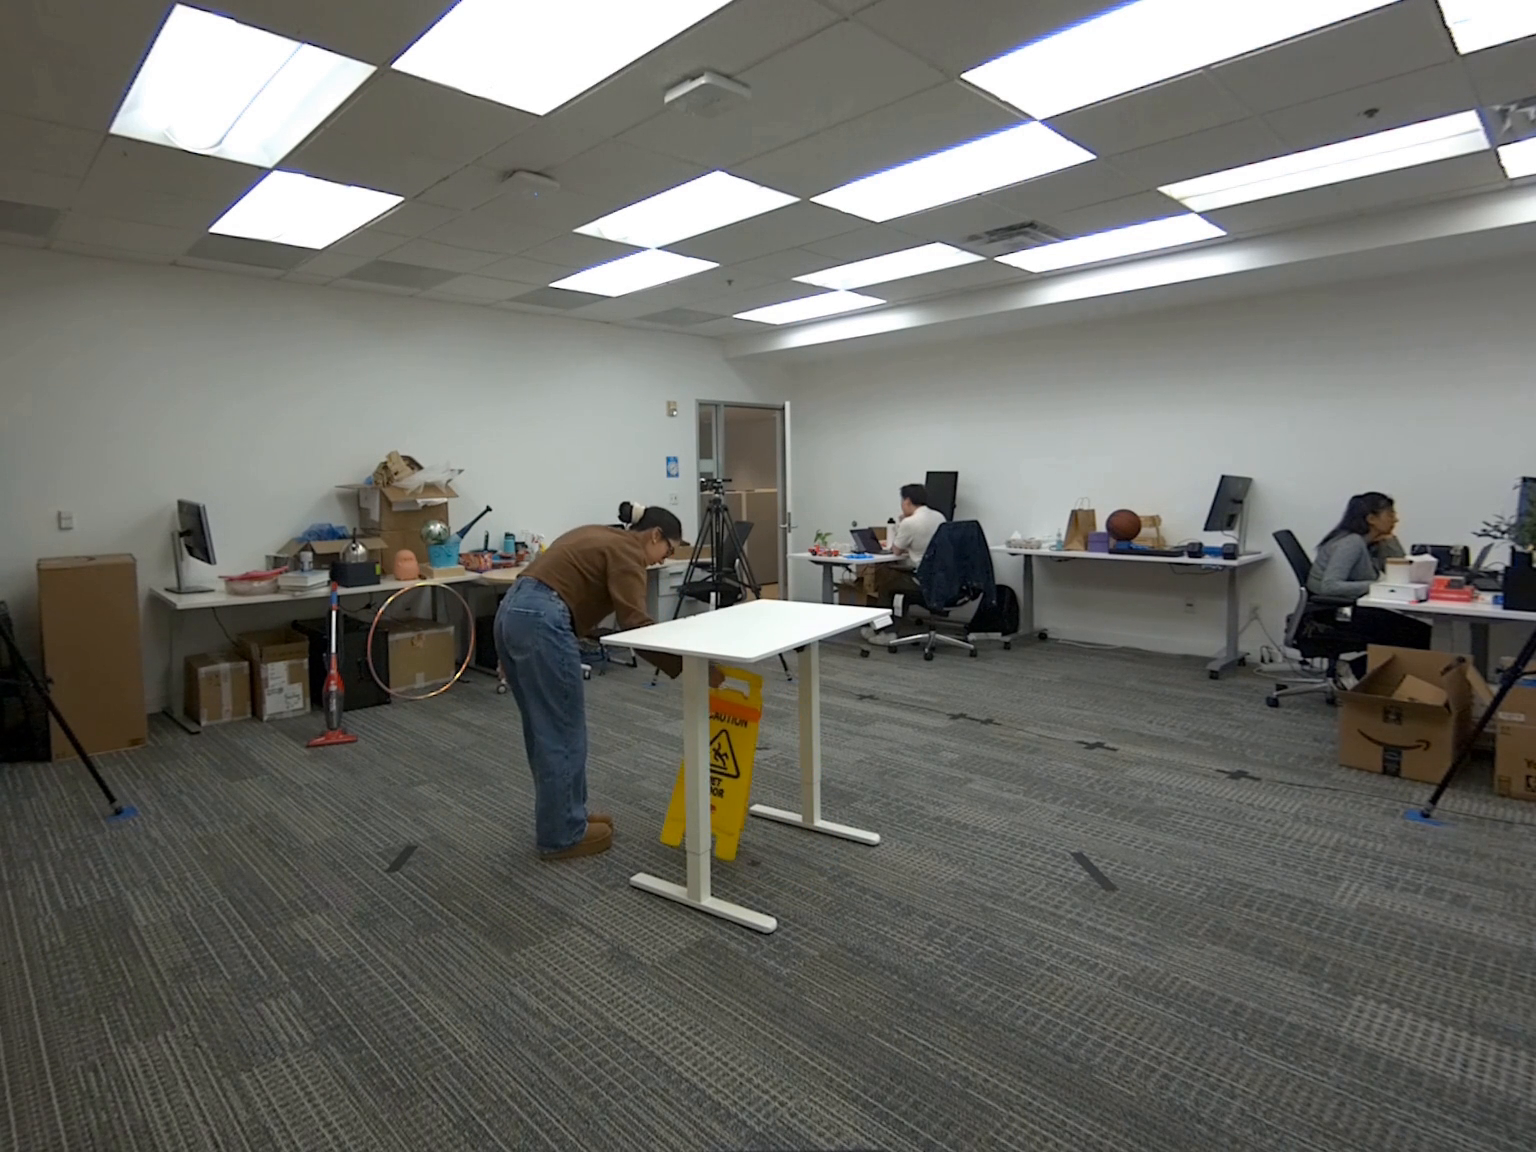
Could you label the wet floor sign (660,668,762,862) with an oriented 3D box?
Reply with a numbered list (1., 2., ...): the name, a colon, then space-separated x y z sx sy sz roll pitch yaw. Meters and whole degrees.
1. wet floor sign: -0.179 0.655 3.146 0.284 0.643 0.289 11 6 3
